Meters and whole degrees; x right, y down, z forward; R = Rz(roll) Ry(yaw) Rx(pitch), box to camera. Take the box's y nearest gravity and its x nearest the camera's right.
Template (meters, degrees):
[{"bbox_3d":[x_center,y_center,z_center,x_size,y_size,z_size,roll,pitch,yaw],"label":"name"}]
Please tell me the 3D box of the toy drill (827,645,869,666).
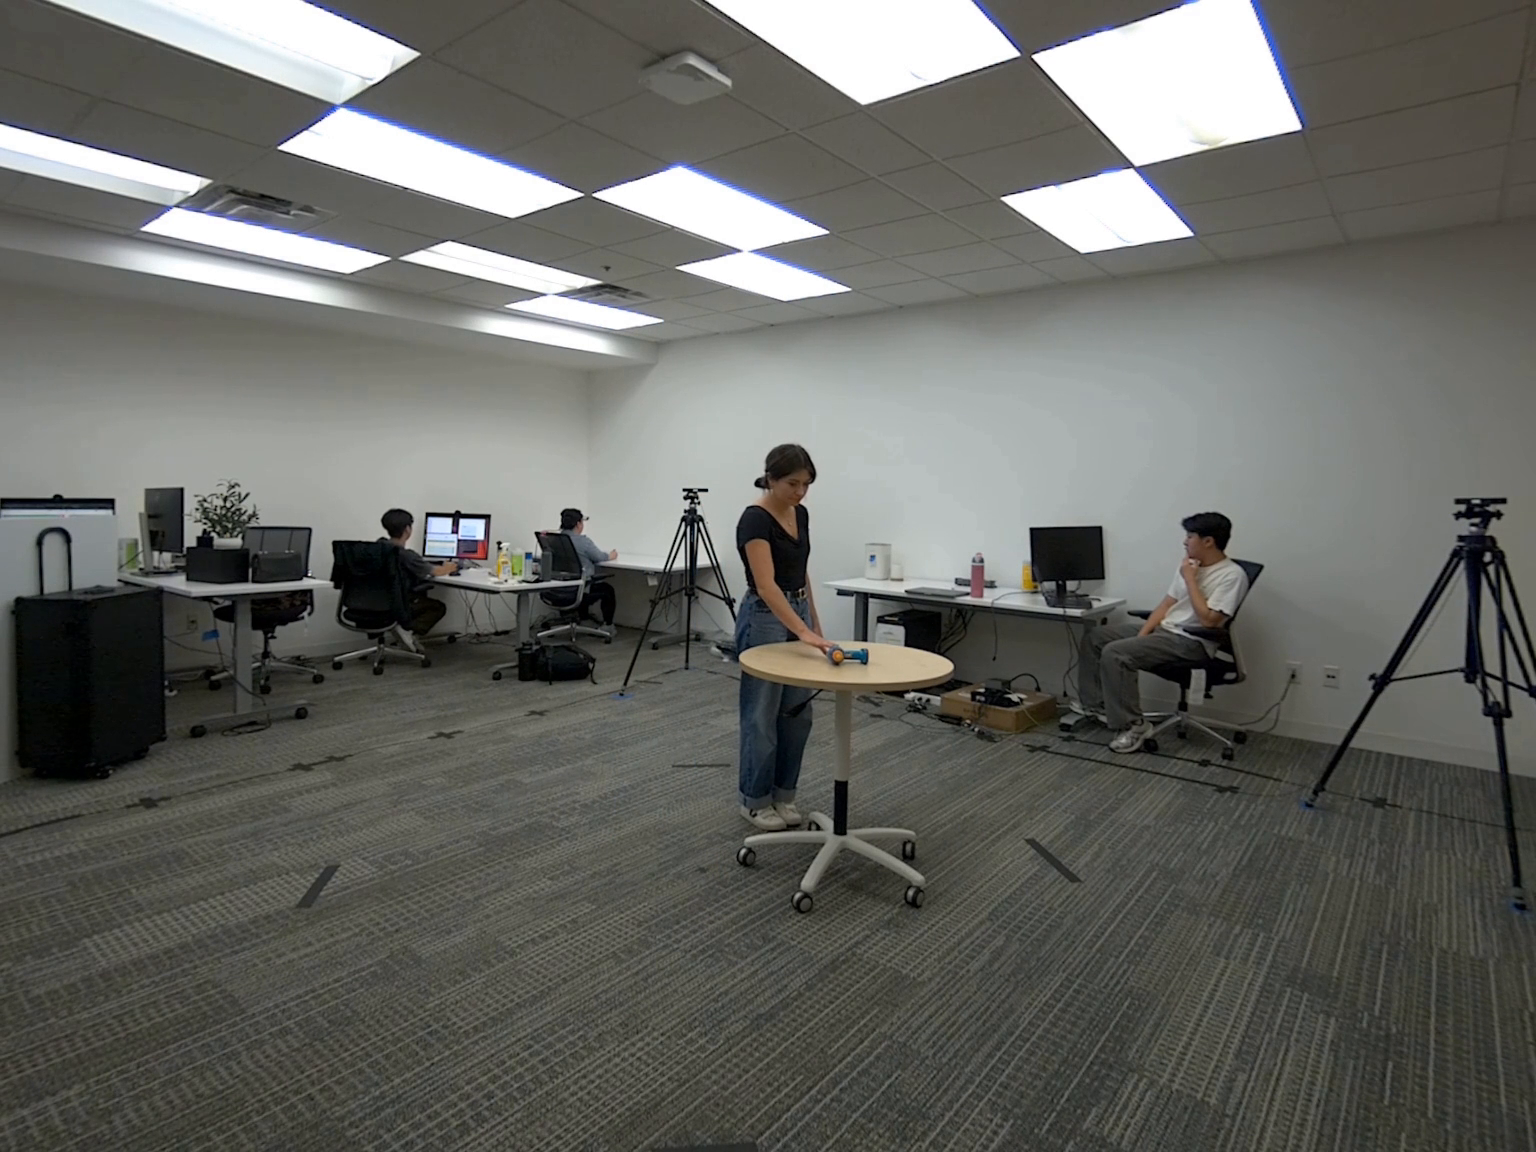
[{"bbox_3d":[0.280,0.270,2.990,0.146,0.061,0.169,2,-2,-2],"label":"toy drill"}]
